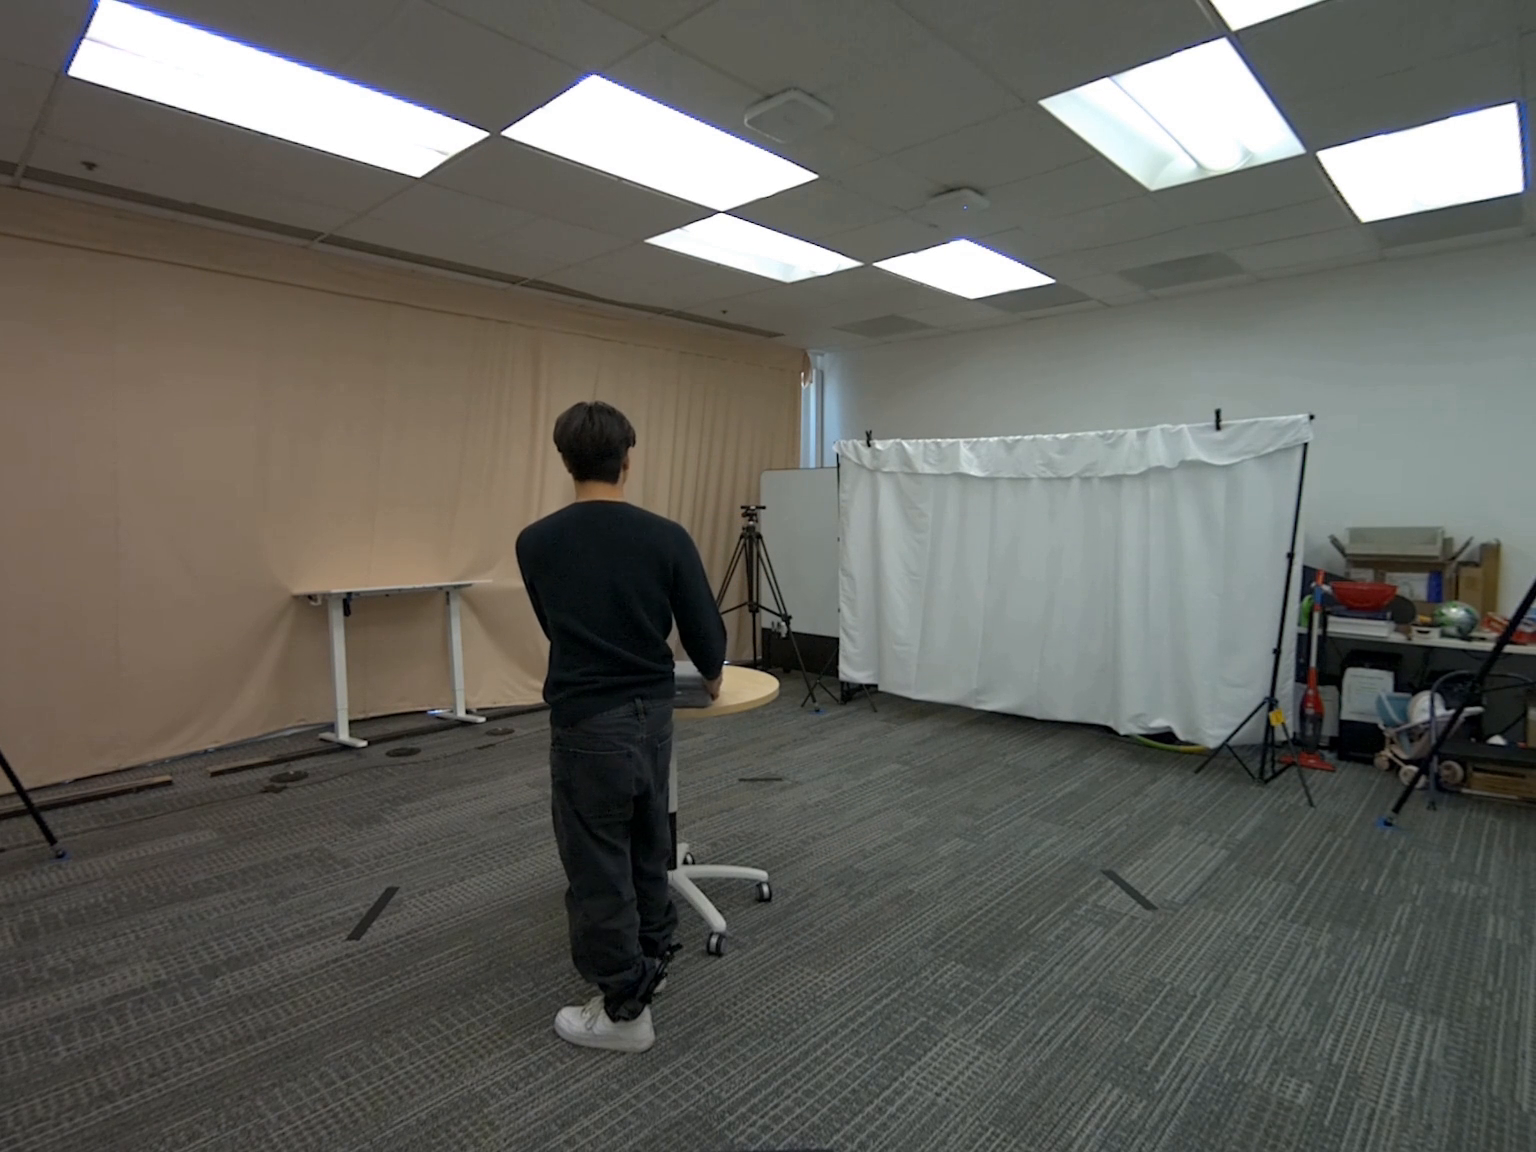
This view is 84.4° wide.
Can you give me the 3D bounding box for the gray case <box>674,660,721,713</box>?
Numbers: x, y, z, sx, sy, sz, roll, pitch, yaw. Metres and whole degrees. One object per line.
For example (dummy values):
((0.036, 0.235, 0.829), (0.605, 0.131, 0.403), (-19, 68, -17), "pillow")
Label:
((-0.296, 0.336, 2.641), (0.259, 0.104, 0.259), (1, 4, 7), "gray case")
